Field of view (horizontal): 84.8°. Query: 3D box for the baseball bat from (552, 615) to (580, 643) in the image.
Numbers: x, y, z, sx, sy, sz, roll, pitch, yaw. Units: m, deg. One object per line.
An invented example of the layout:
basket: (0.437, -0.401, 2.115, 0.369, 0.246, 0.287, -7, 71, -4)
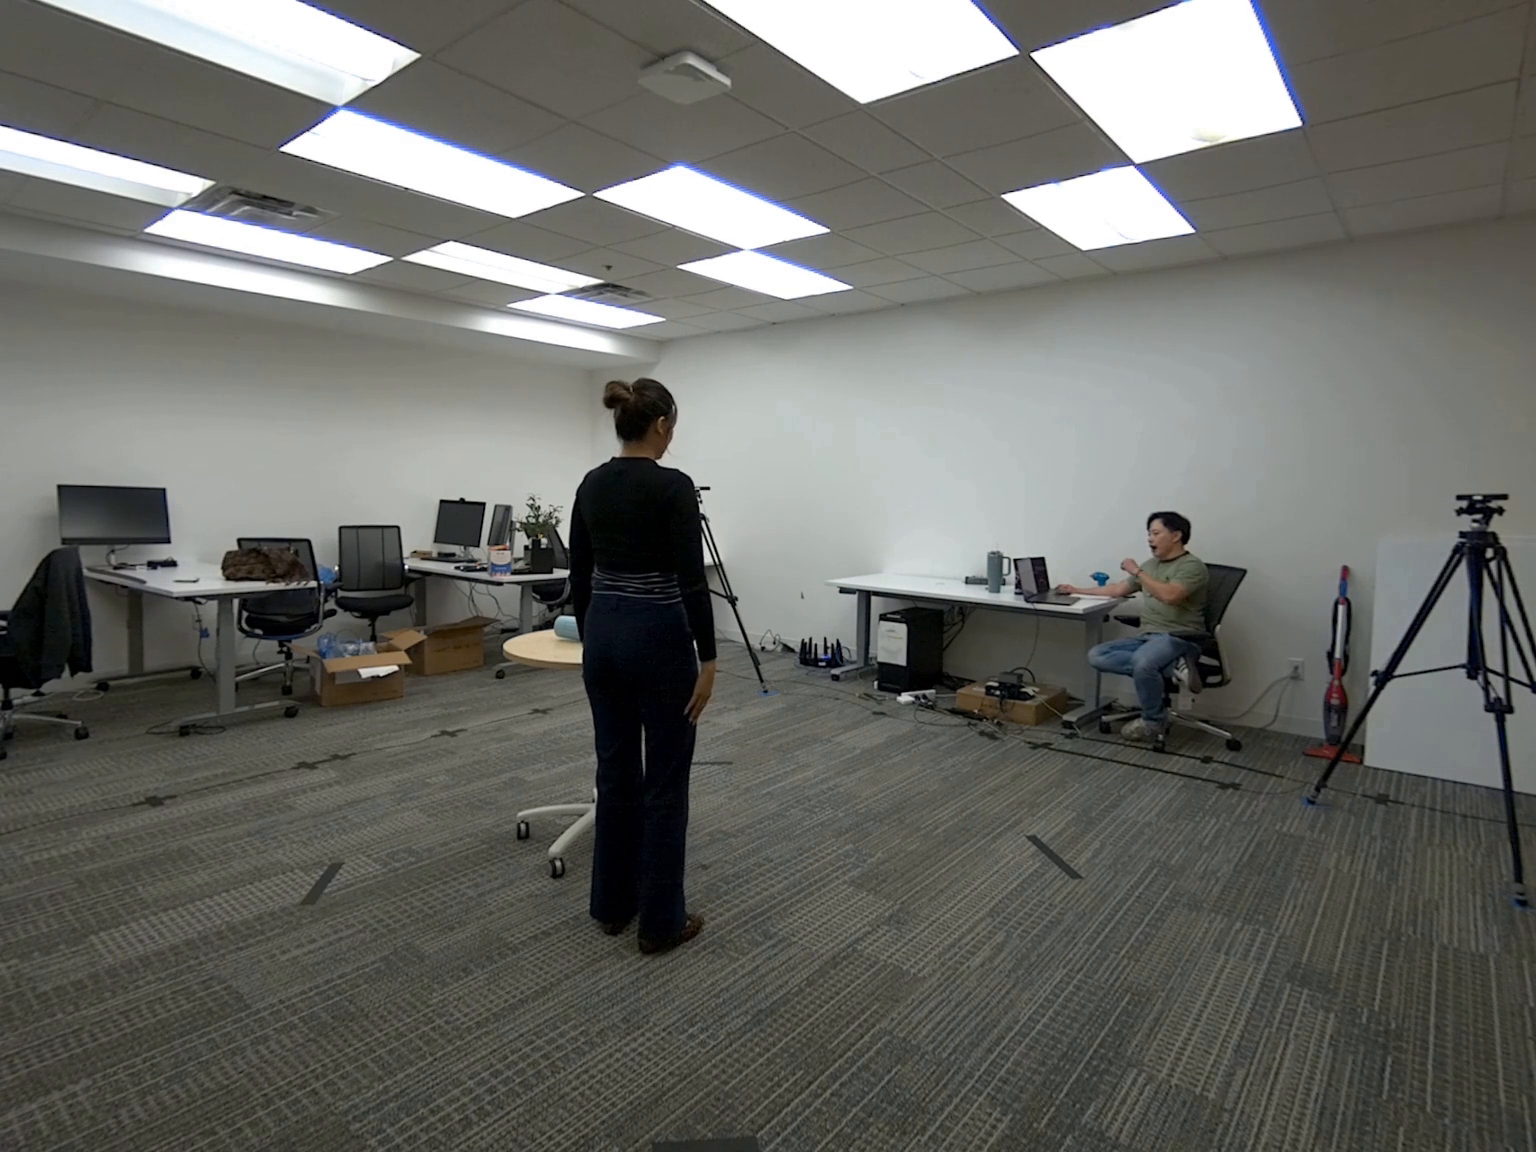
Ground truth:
baseball bat: (-0.583, 0.225, 3.279, 0.554, 0.089, 0.088, 6, 5, 17)
